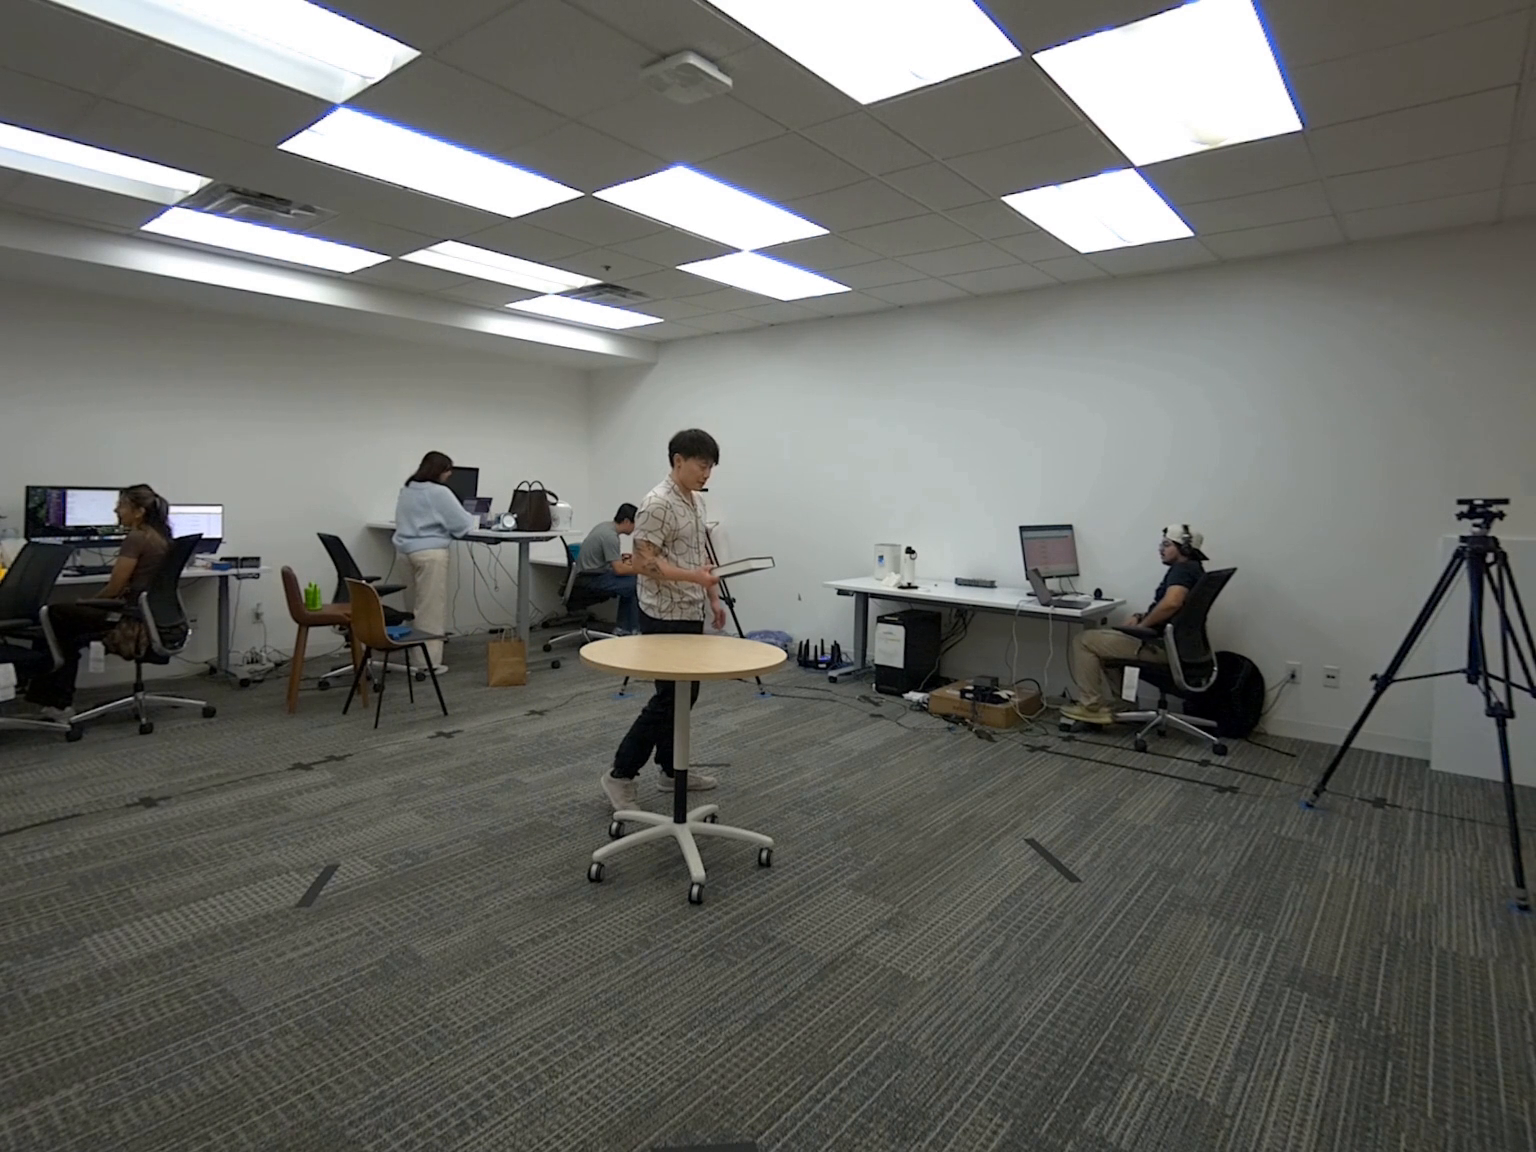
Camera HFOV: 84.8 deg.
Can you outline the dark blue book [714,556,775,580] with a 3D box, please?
[{"bbox_3d":[-0.130,-0.035,3.586,0.251,0.045,0.158,-13,-5,37],"label":"dark blue book"}]
